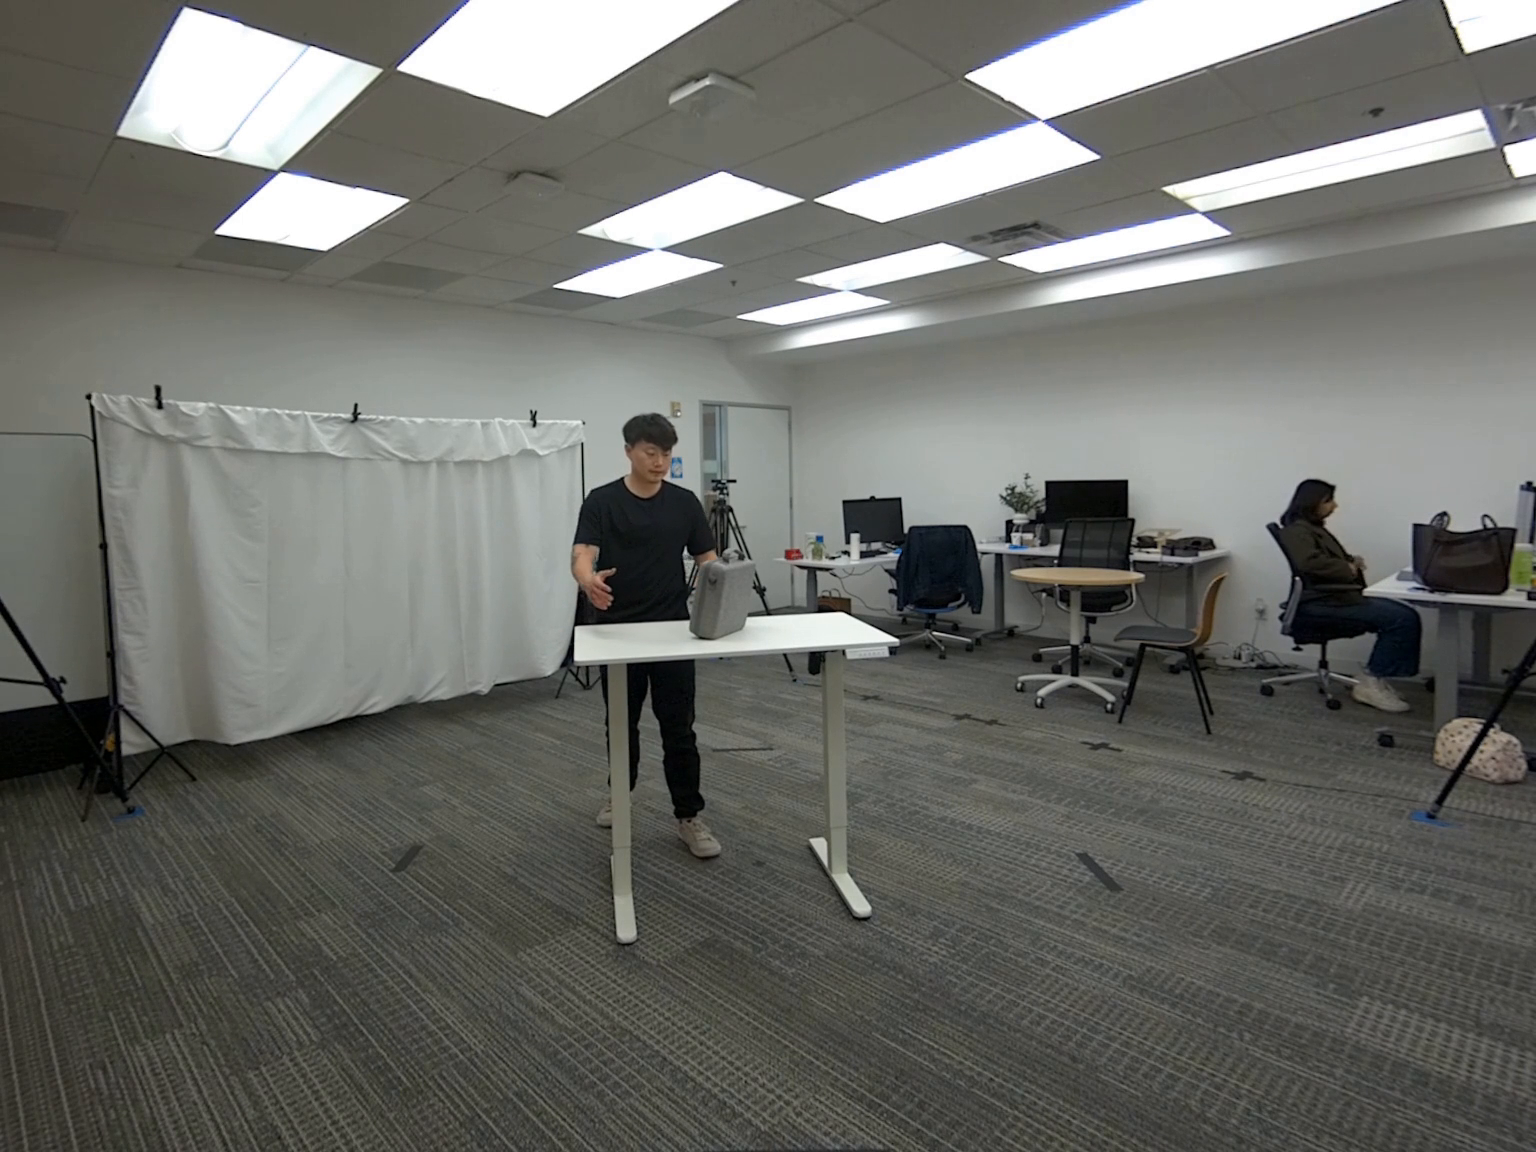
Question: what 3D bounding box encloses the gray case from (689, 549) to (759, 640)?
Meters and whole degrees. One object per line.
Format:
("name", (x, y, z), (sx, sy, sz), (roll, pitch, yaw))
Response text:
("gray case", (-0.148, 0.068, 2.858), (0.107, 0.258, 0.253), (13, 12, 21))
